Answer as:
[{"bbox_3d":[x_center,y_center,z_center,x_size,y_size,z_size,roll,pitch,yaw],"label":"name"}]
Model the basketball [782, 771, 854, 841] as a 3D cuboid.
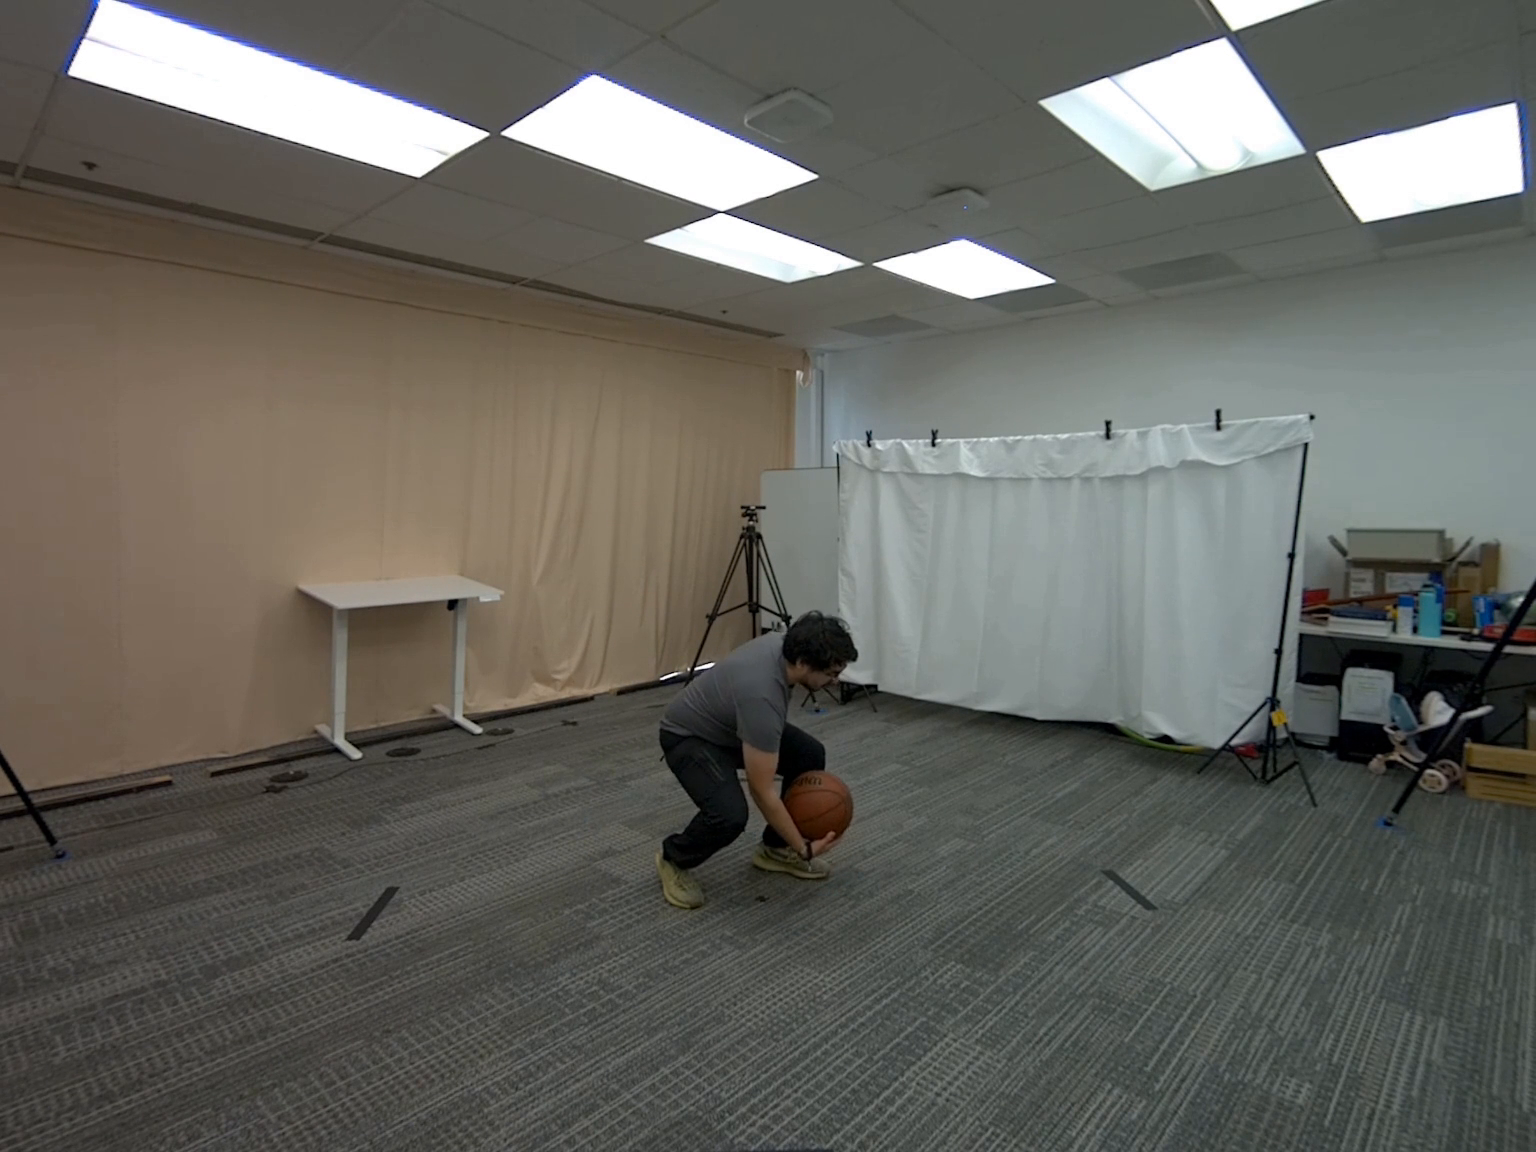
[{"bbox_3d":[0.174,0.787,2.897,0.236,0.235,0.237,0,4,-2],"label":"basketball"}]
